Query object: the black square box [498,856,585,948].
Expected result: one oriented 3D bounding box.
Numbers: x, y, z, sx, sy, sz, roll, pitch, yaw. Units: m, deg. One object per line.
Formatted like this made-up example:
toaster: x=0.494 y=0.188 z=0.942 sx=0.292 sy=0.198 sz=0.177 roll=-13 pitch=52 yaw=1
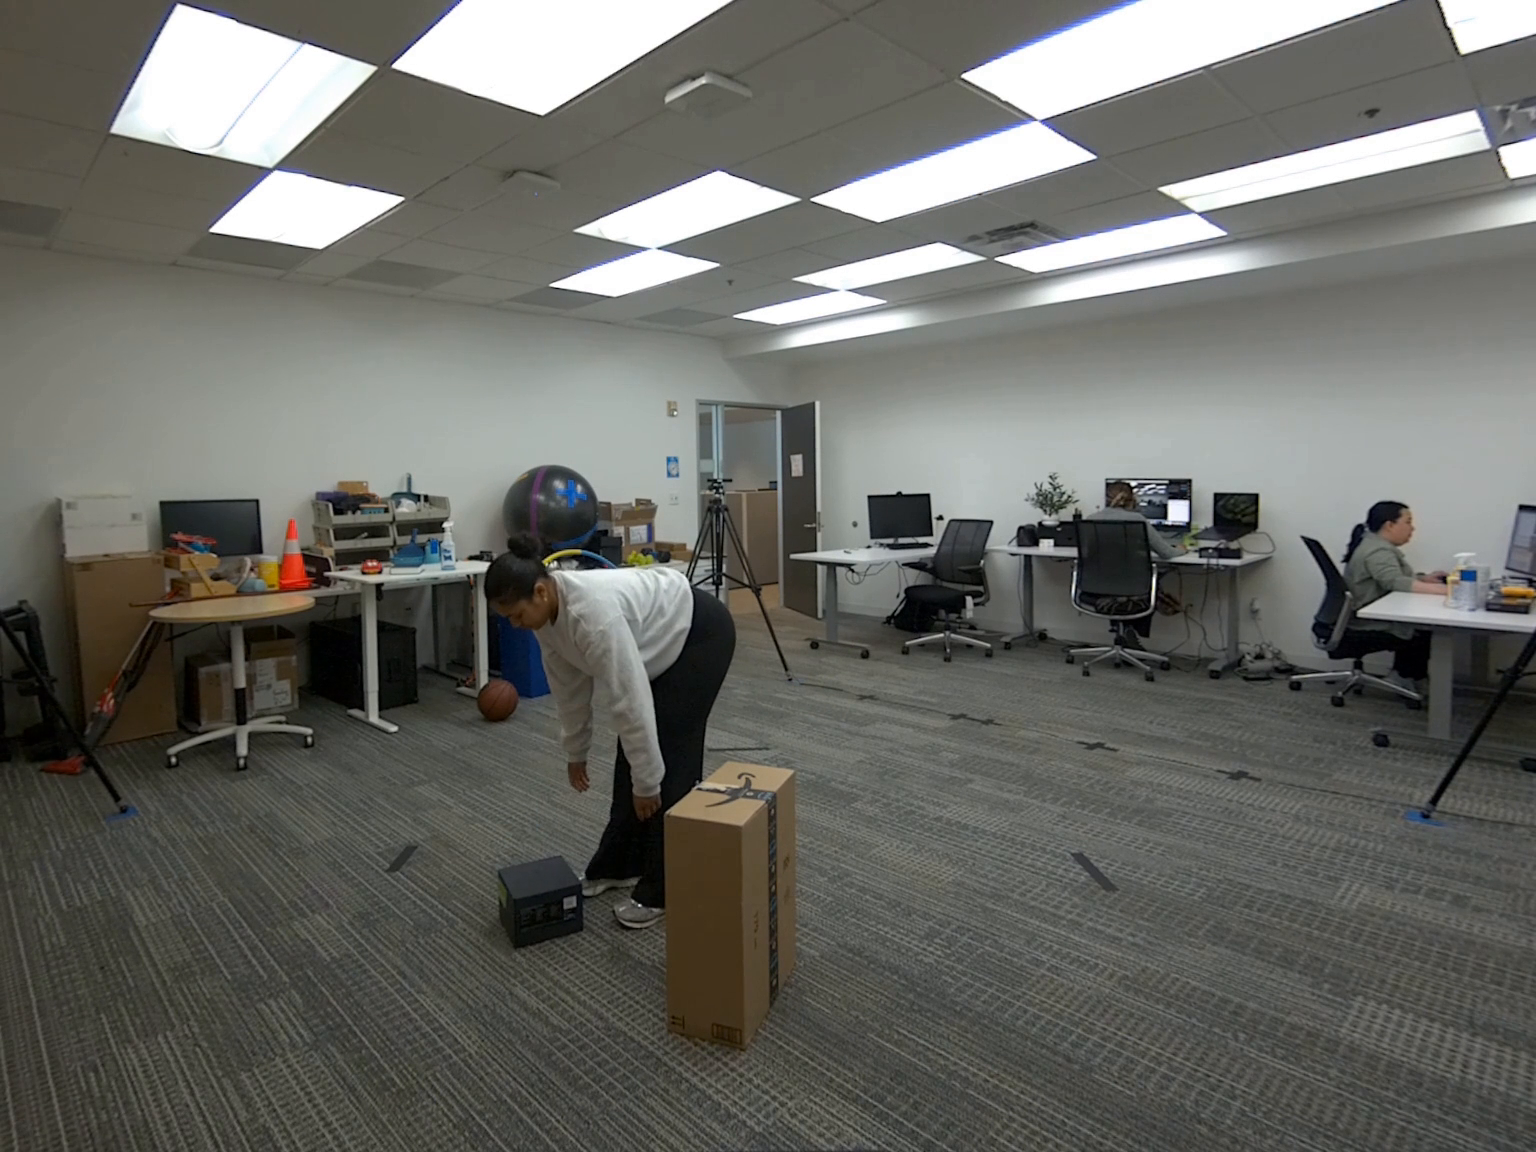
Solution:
black square box: x=-0.718 y=1.019 z=2.705 sx=0.212 sy=0.155 sz=0.234 roll=-5 pitch=7 yaw=-29
